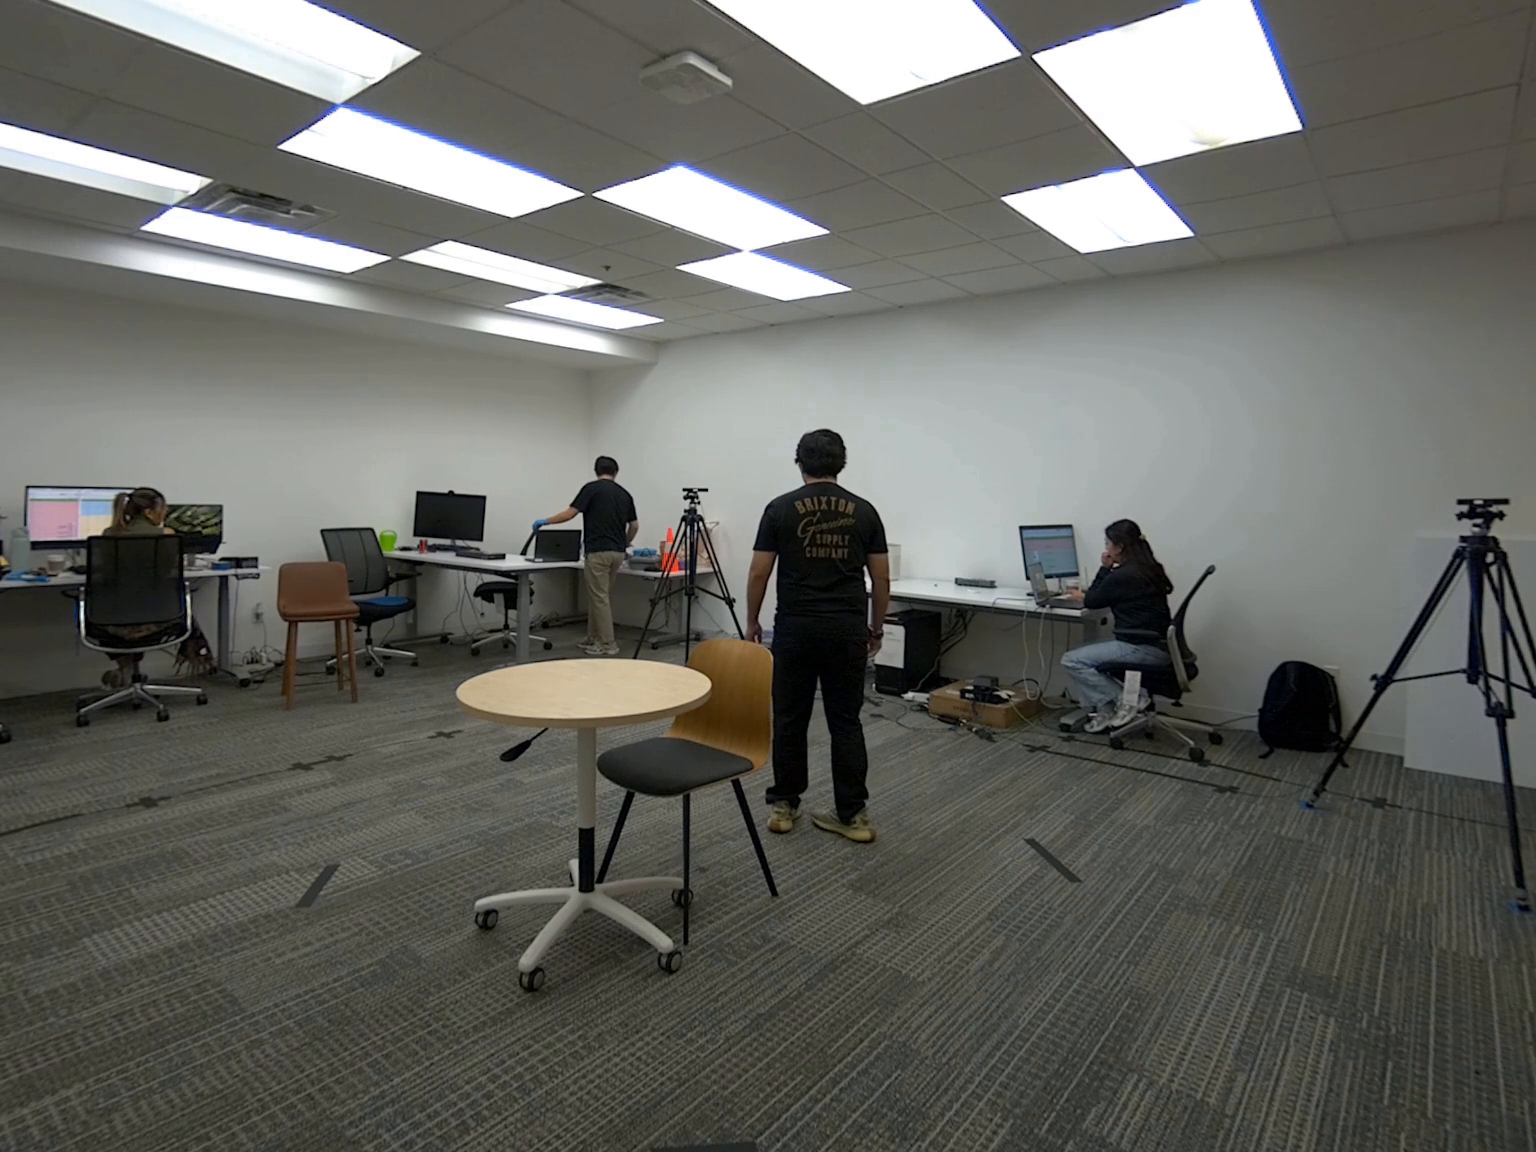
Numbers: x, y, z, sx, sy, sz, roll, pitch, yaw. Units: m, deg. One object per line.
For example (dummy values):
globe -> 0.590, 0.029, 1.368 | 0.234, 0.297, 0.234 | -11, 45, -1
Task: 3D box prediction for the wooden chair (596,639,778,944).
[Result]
wooden chair -> -0.289, 0.664, 2.868 | 0.494, 0.877, 0.506 | 5, 1, 41
